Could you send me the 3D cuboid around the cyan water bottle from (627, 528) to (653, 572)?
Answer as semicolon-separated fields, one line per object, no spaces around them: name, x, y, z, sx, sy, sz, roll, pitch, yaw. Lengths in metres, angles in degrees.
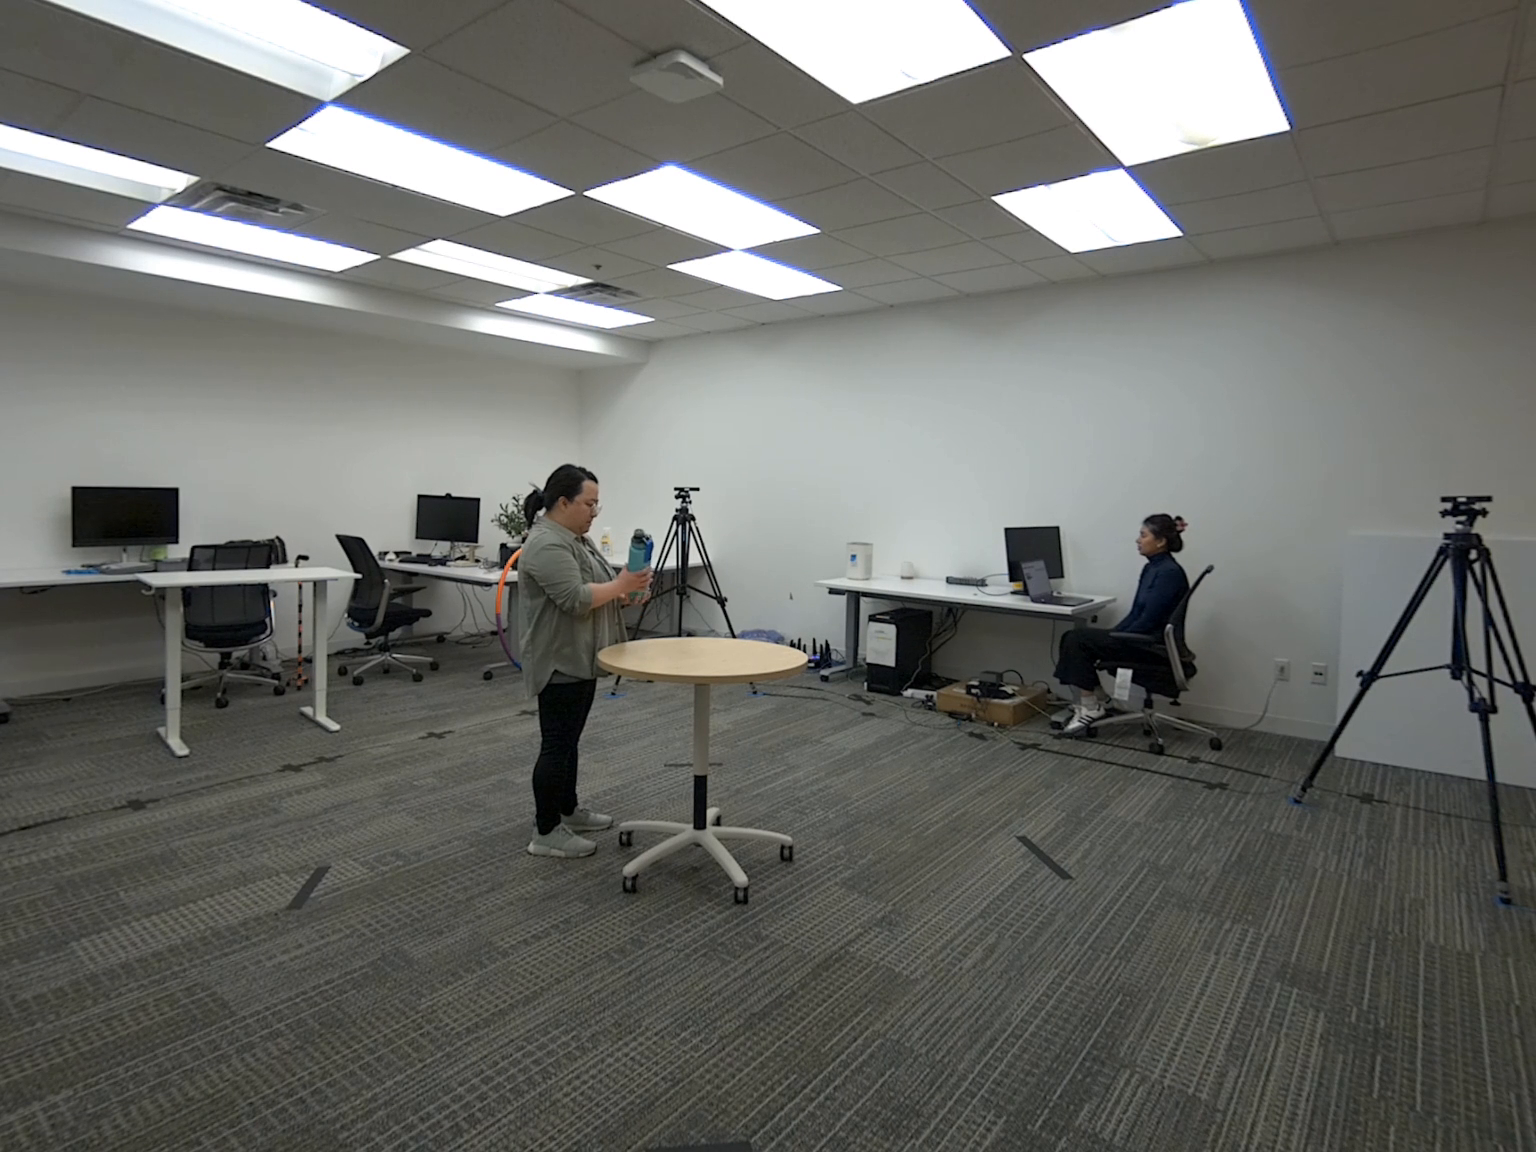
cyan water bottle;-0.510;-0.042;3.291;0.092;0.277;0.095;6;31;-5
